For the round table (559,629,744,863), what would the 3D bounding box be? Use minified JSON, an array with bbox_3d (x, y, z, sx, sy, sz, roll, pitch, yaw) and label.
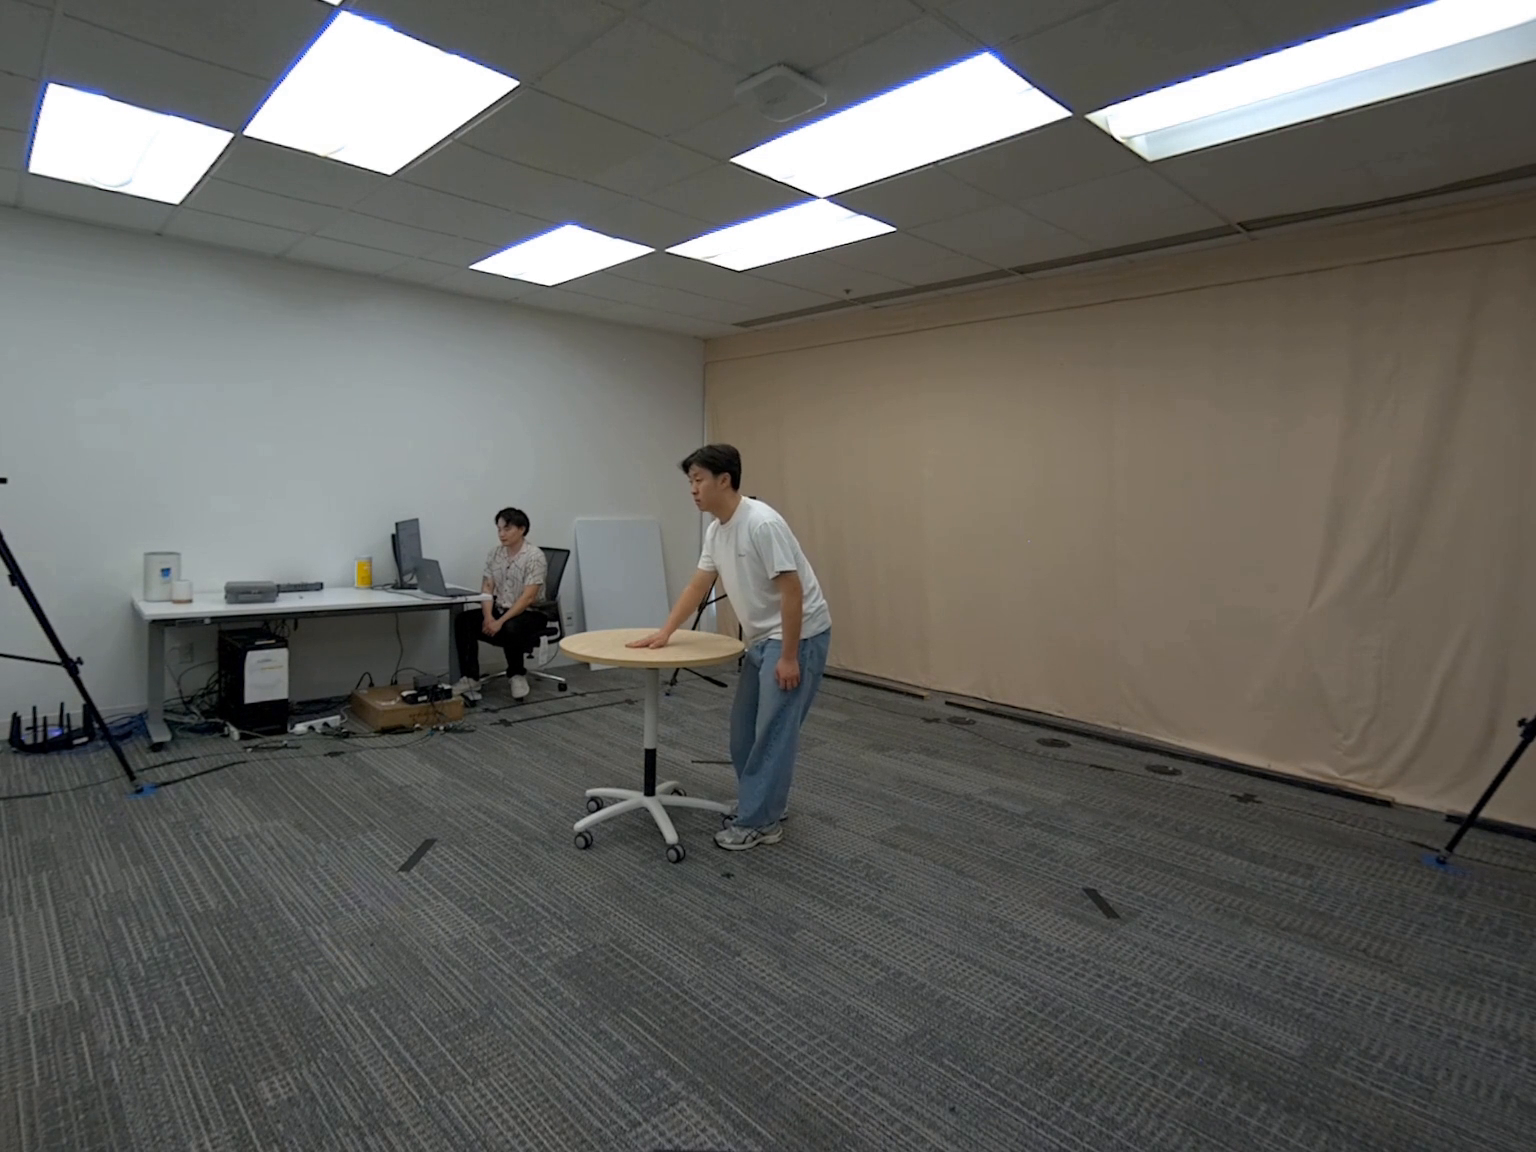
[{"bbox_3d":[-0.496,0.670,3.506,0.763,0.792,0.766,1,4,-1],"label":"round table"}]
